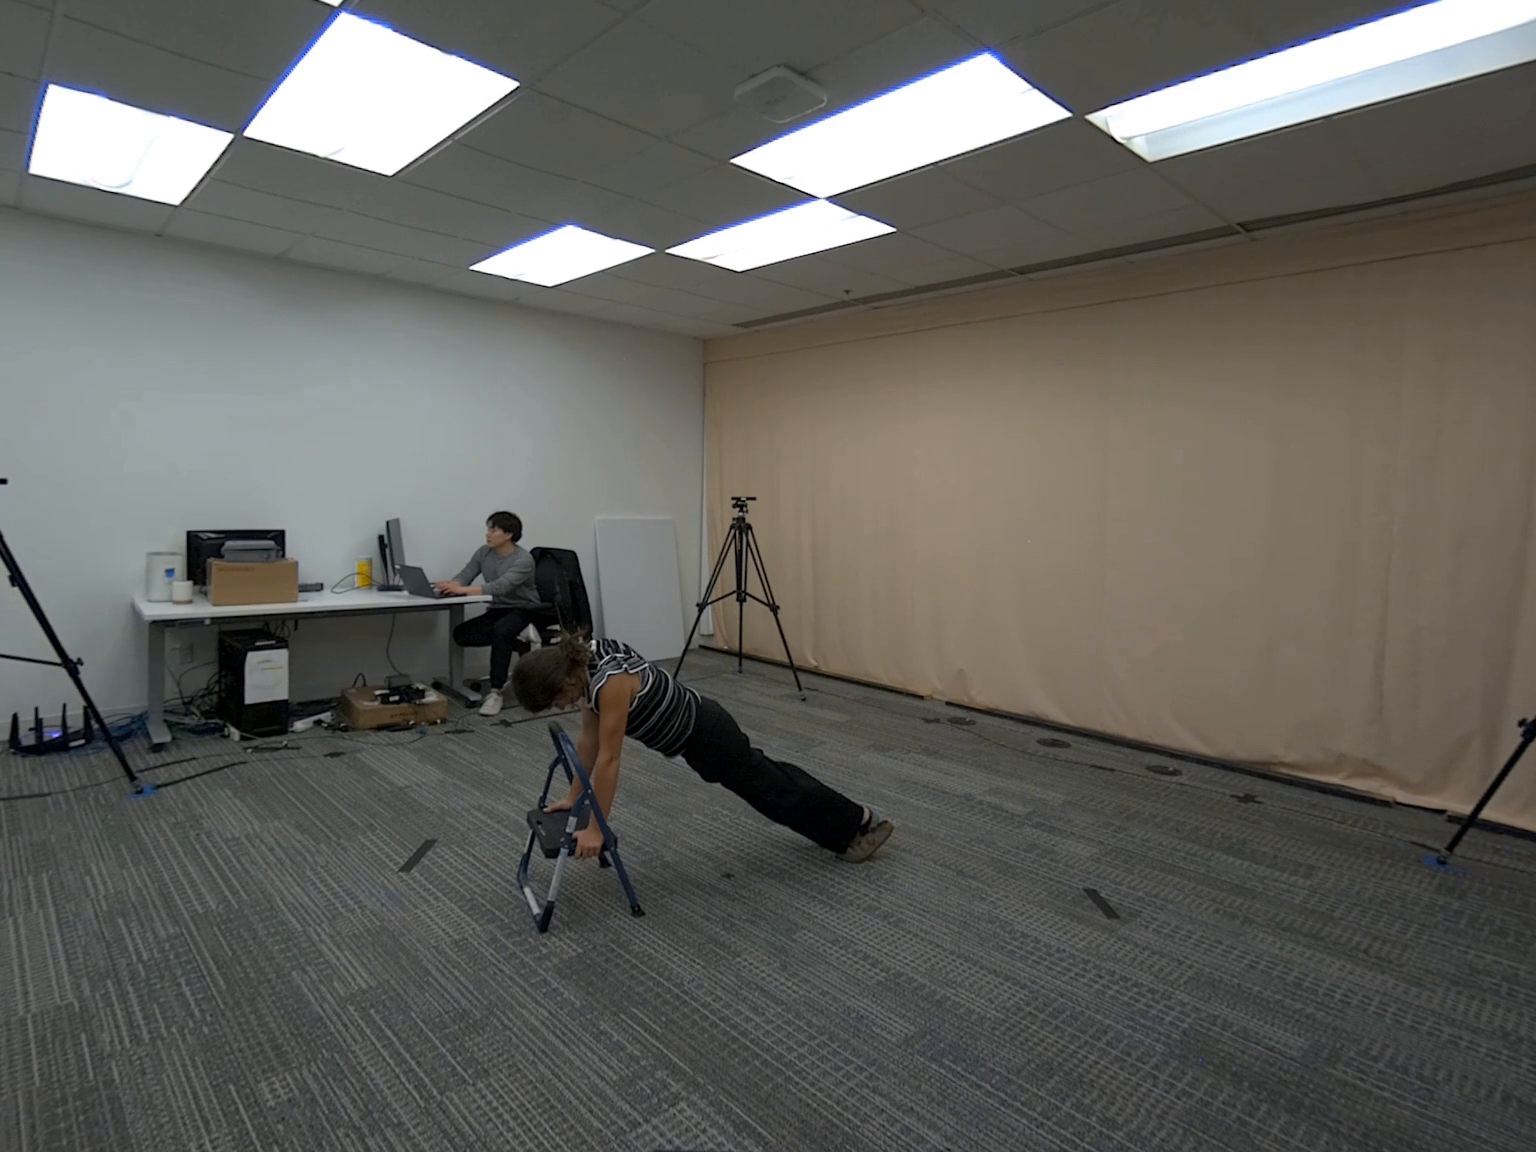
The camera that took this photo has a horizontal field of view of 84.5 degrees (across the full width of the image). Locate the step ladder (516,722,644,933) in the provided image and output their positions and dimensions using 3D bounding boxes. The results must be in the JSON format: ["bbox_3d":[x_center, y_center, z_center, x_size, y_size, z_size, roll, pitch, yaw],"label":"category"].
[{"bbox_3d":[-0.662,0.814,2.900,0.343,0.604,0.440,-1,4,-27],"label":"step ladder"}]
